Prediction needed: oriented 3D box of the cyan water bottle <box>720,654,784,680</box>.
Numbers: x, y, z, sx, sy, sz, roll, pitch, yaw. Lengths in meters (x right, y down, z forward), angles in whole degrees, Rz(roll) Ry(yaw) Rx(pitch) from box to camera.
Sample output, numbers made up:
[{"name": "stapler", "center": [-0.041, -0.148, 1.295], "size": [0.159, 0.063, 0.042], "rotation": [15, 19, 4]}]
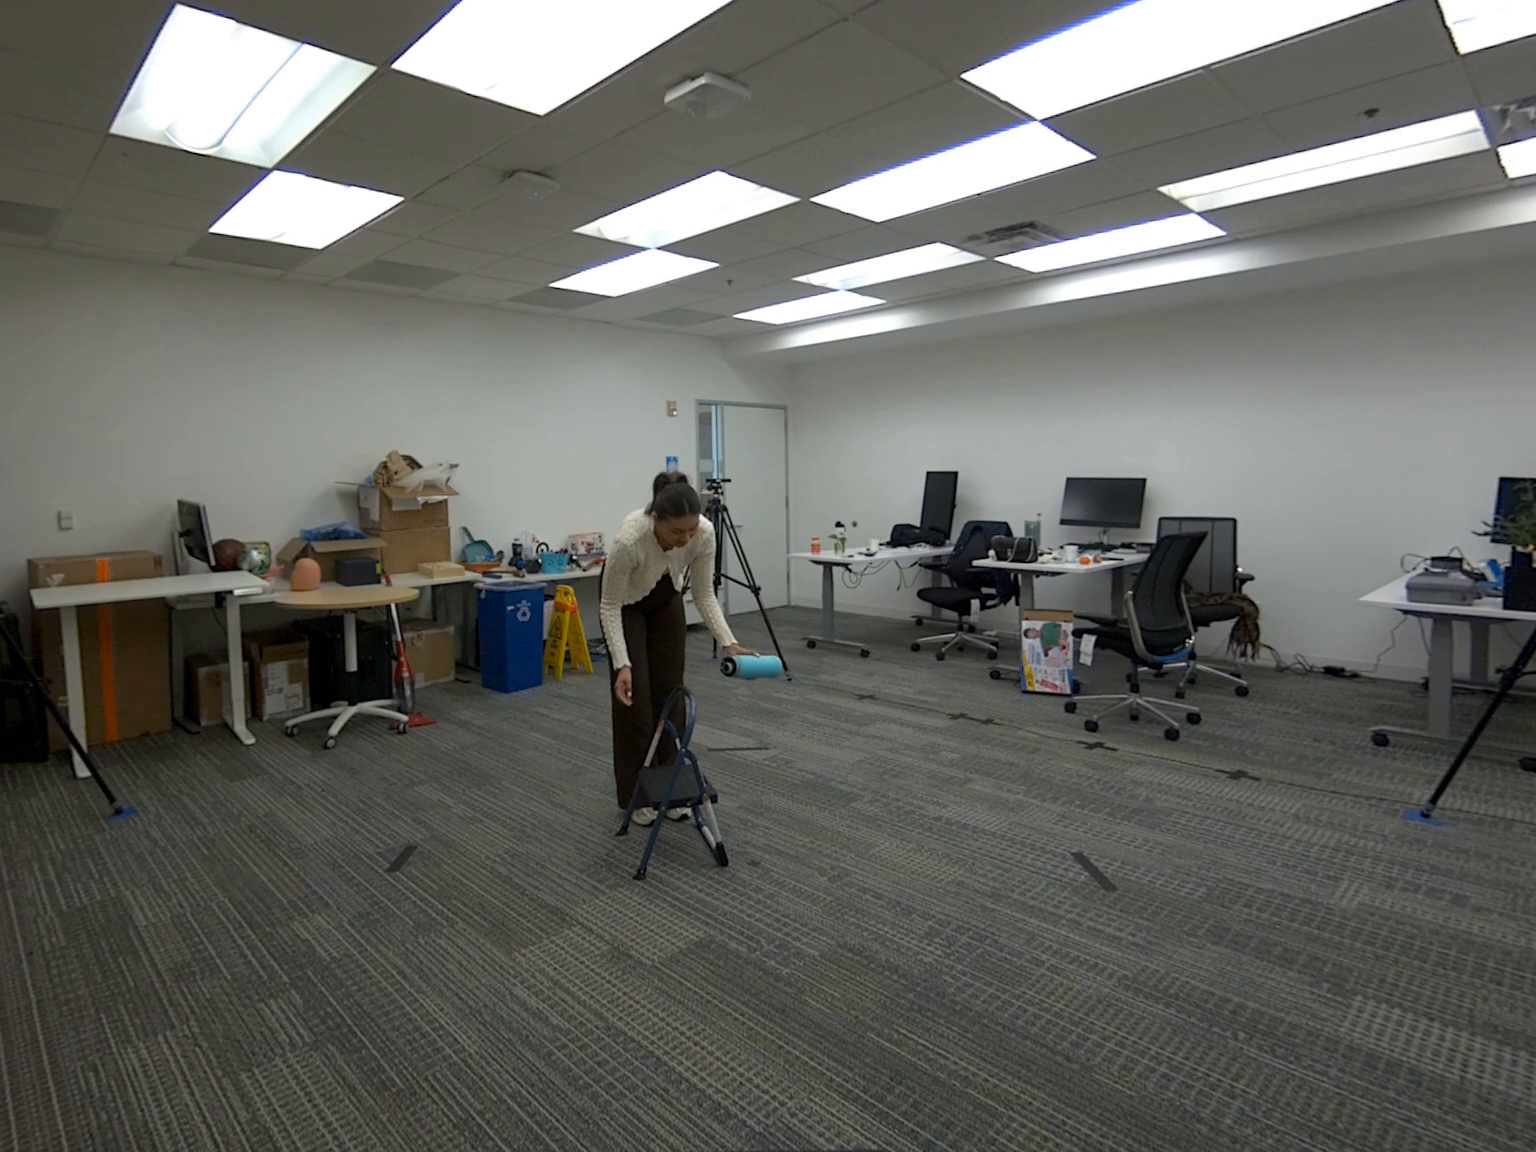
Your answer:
[{"name": "cyan water bottle", "center": [-0.075, 0.362, 3.376], "size": [0.274, 0.092, 0.095], "rotation": [6, -1, -43]}]
